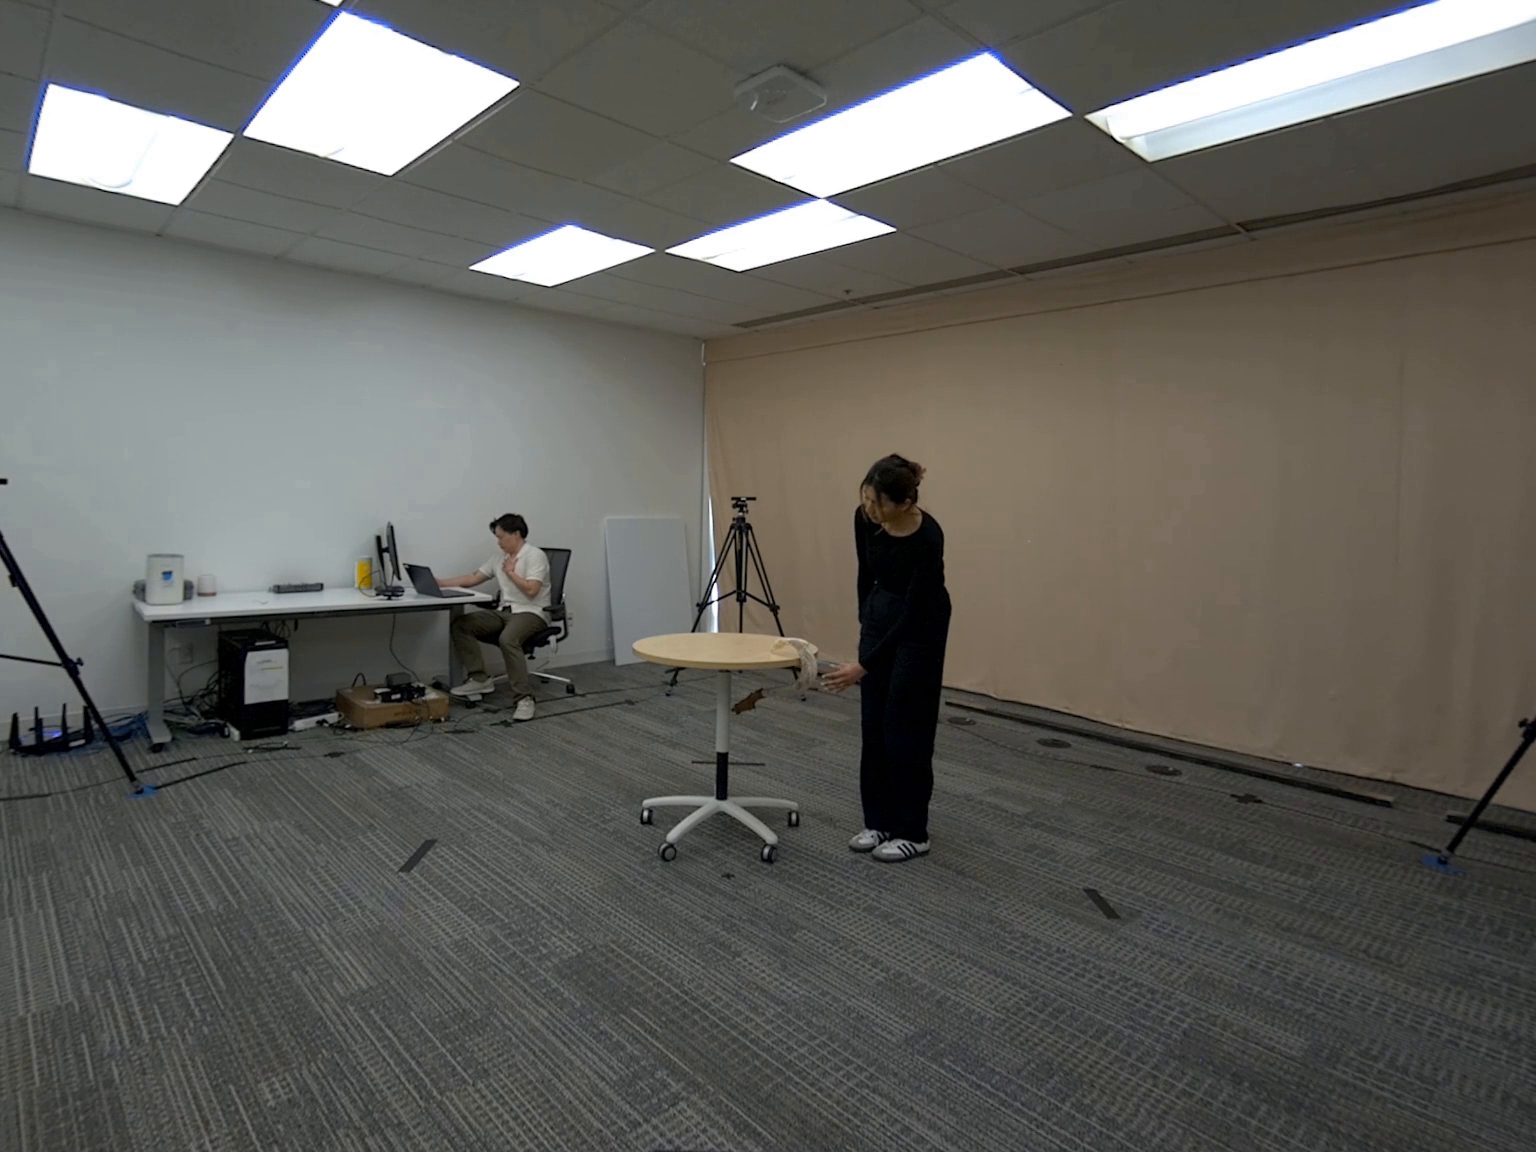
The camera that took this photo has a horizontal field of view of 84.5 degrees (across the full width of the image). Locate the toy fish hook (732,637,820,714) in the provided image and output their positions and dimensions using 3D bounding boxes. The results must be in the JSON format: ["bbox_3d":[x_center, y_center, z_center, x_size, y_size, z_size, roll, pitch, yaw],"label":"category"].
[{"bbox_3d":[0.007,0.404,3.360,0.047,0.228,0.510,2,-26,-47],"label":"toy fish hook"}]
